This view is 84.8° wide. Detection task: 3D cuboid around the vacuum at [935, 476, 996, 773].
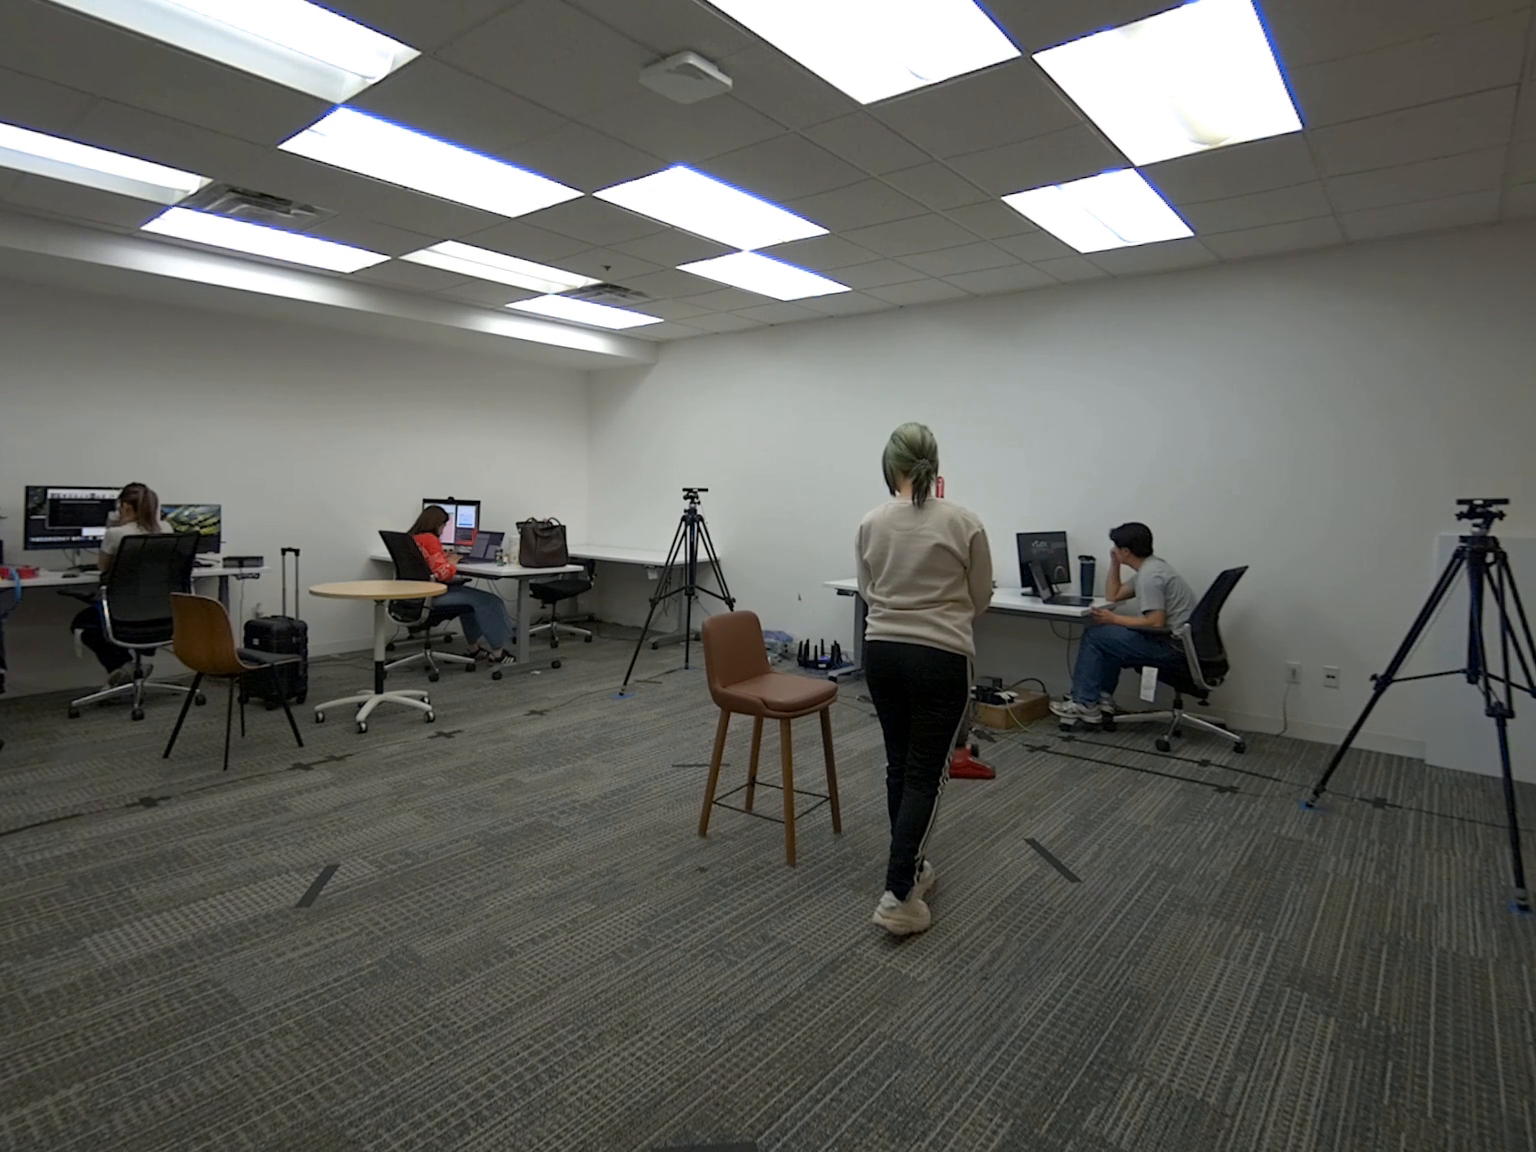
[{"bbox_3d":[0.661,0.159,3.168,0.257,1.058,0.140,-5,-9,20],"label":"vacuum"}]
